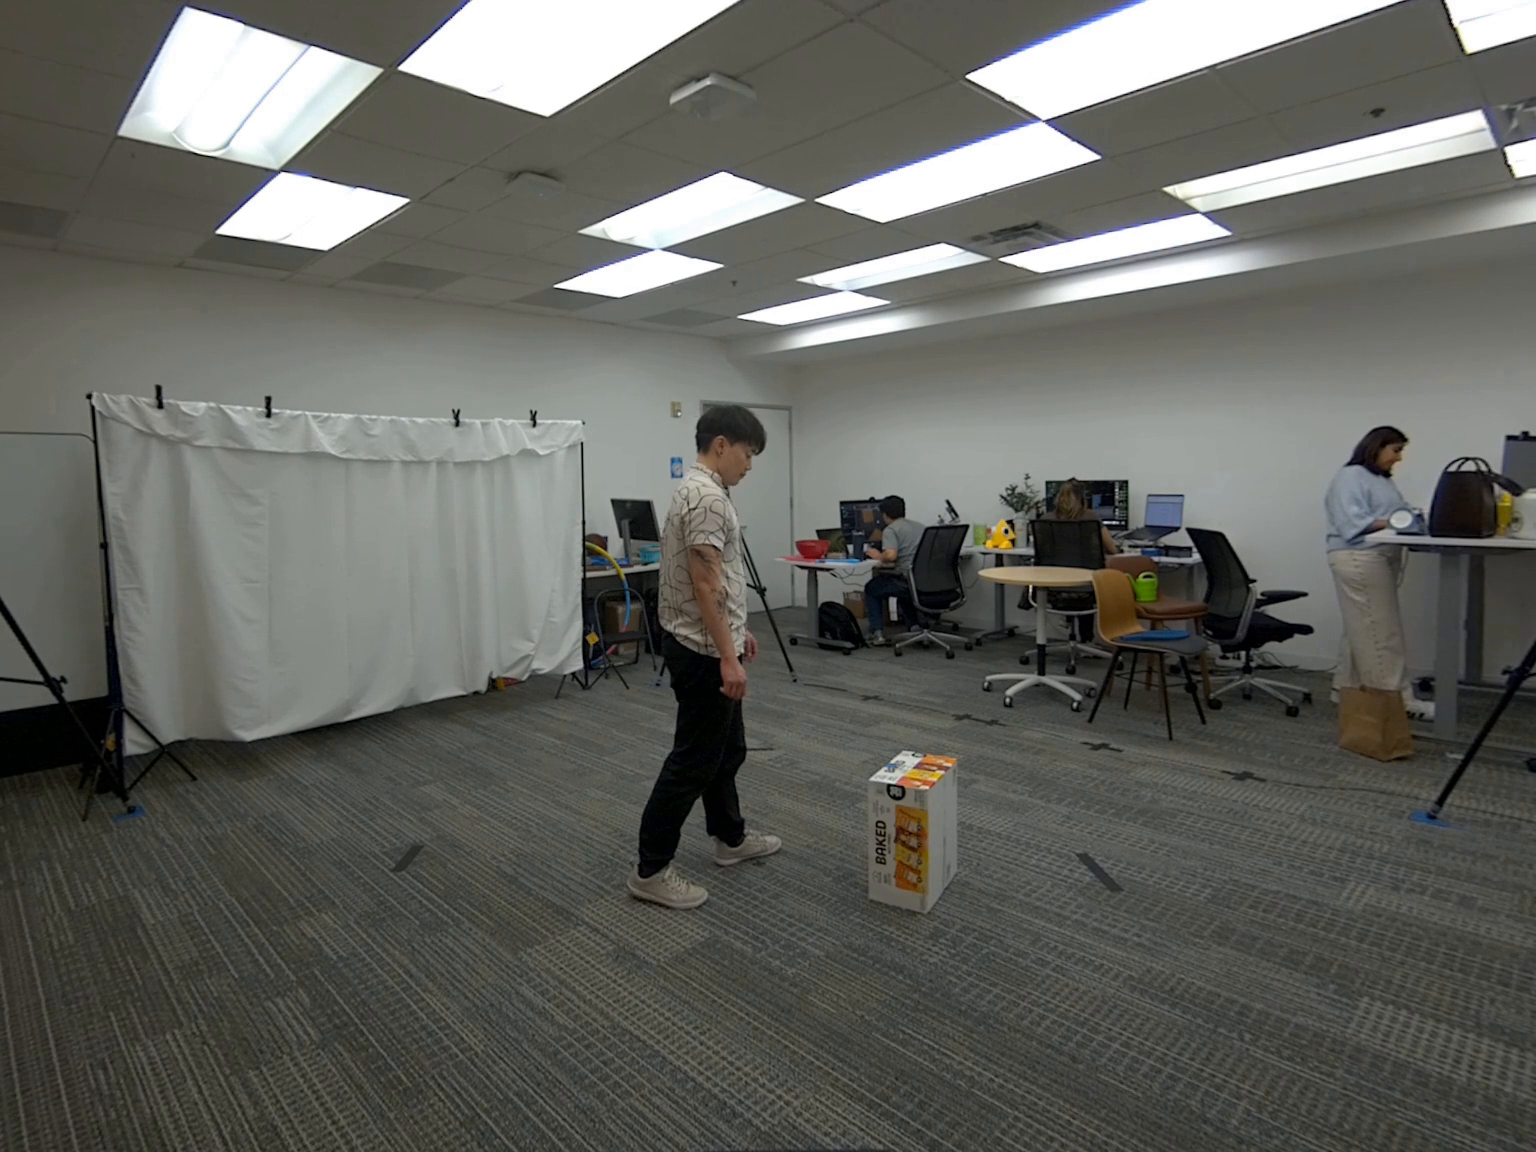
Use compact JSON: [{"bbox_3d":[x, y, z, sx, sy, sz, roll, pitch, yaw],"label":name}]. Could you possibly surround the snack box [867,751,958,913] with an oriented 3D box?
[{"bbox_3d":[0.499,0.854,2.906,0.211,0.404,0.333,2,5,29],"label":"snack box"}]
